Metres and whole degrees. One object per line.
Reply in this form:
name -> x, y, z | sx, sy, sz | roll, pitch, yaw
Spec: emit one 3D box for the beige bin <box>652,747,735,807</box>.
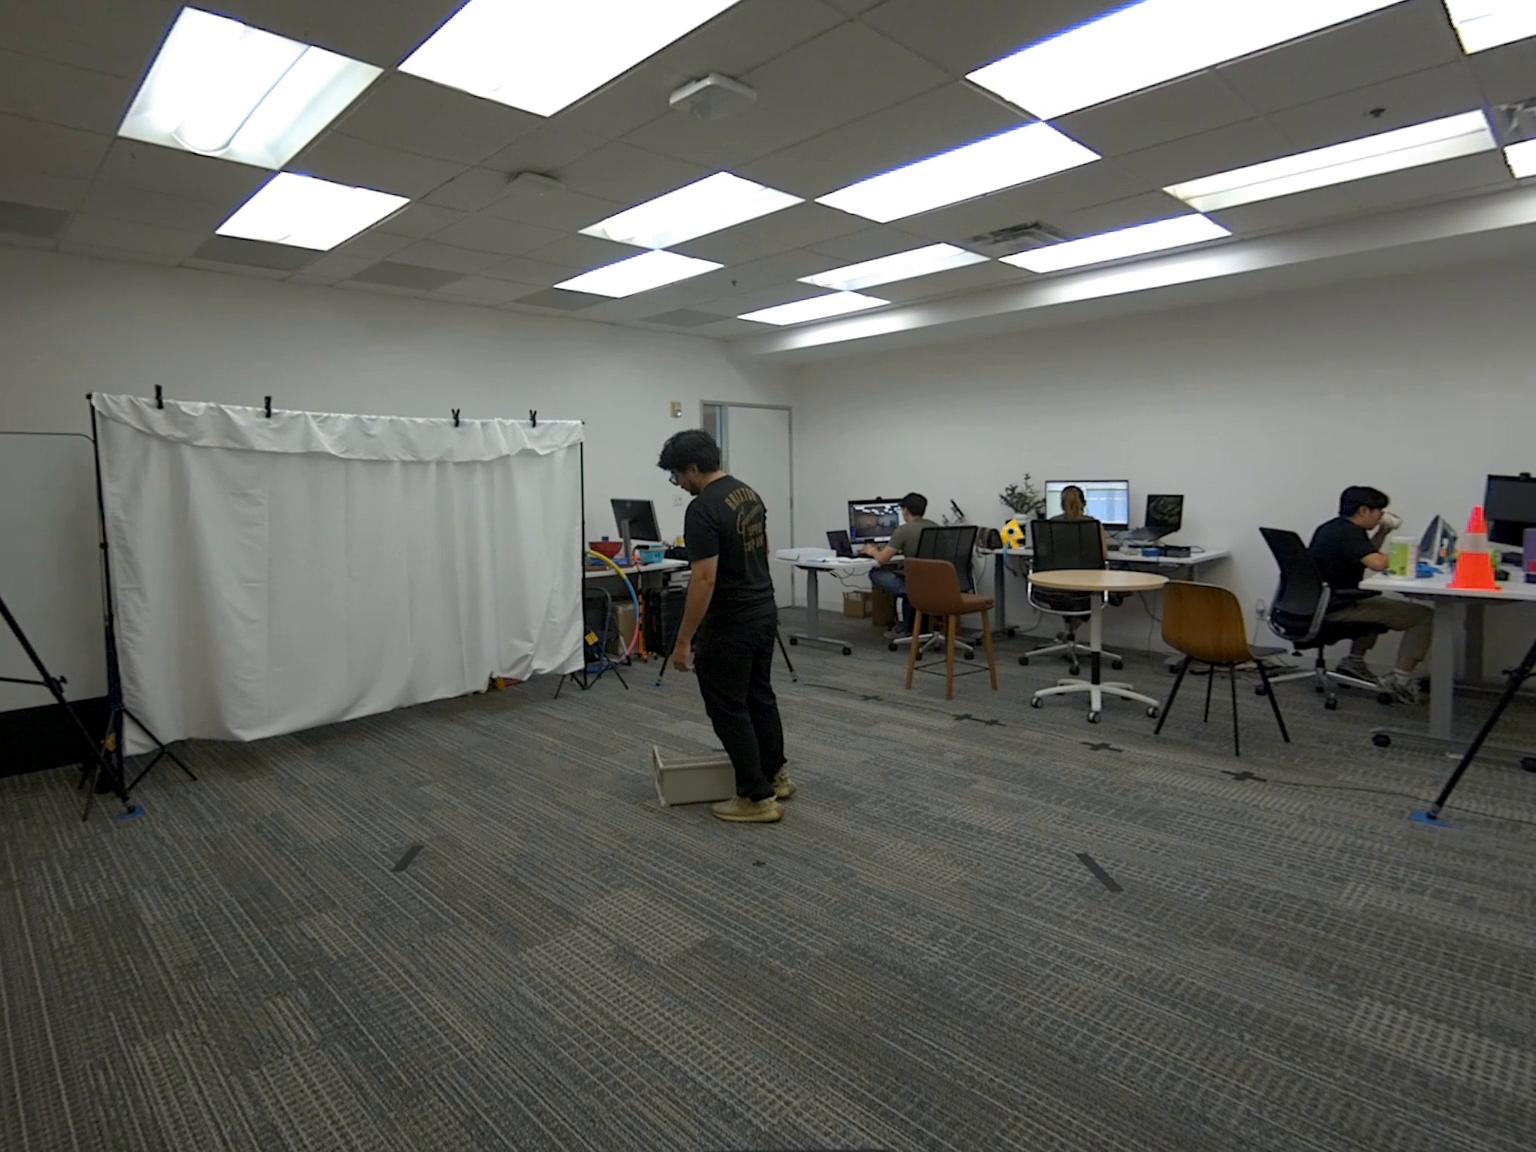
beige bin -> -0.298, 0.885, 3.886 | 0.418, 0.188, 0.383 | -1, 6, -11
